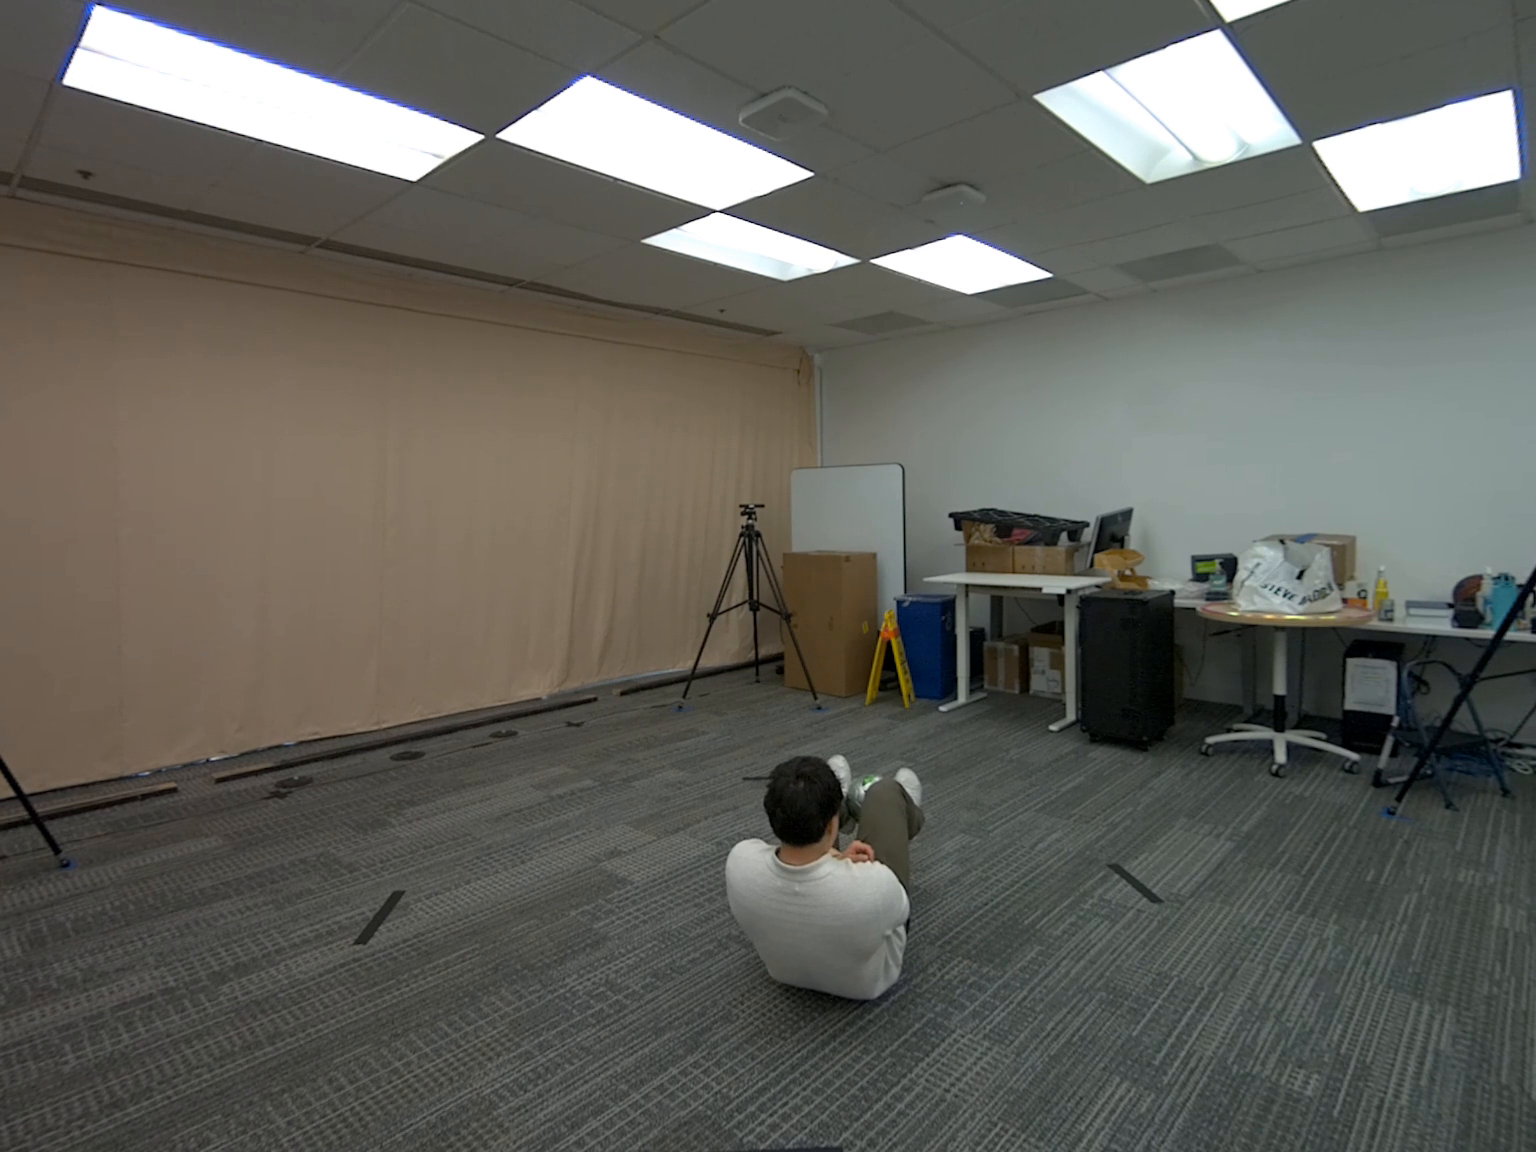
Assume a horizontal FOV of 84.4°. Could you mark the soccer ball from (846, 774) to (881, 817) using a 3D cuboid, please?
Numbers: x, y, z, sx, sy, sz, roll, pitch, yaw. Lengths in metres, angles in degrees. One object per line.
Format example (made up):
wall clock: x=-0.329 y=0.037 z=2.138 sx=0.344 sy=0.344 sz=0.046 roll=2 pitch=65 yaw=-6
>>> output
soccer ball: x=0.387 y=0.811 z=3.007 sx=0.187 sy=0.187 sz=0.188 roll=-1 pitch=4 yaw=-2
